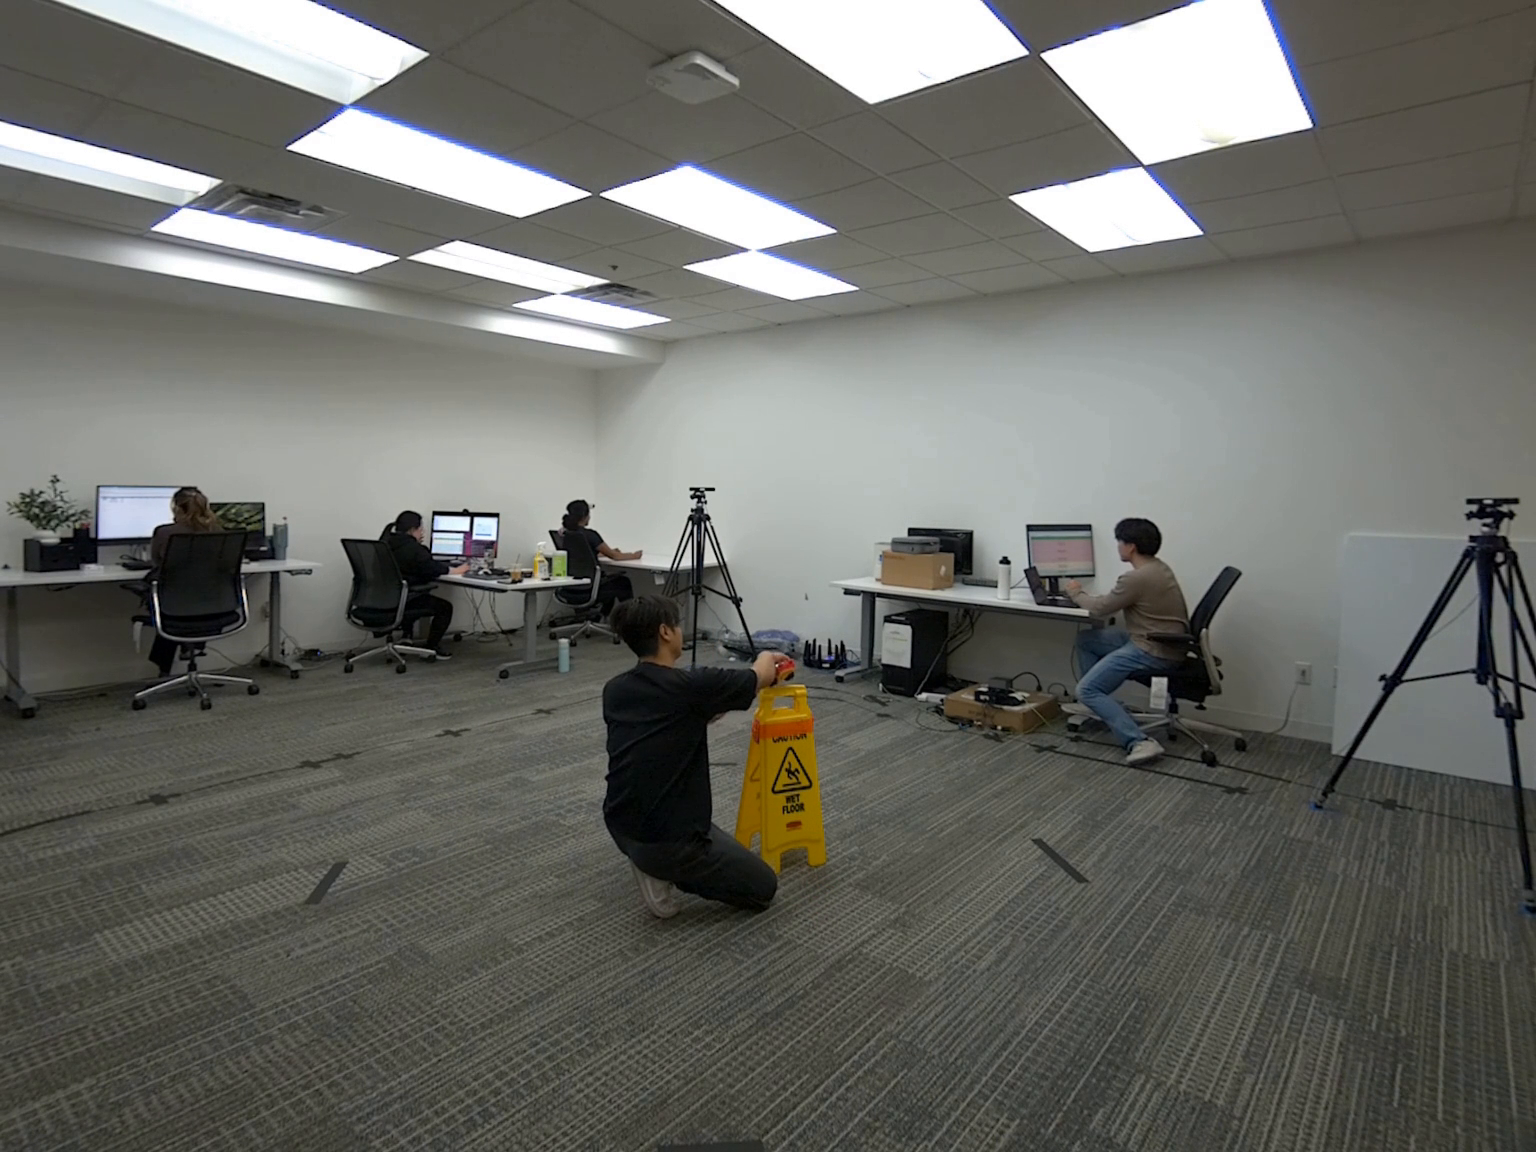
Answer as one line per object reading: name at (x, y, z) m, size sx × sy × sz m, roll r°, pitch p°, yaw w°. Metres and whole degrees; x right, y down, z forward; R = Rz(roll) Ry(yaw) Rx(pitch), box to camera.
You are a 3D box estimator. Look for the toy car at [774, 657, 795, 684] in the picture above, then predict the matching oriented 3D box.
toy car at (0.003, 0.386, 3.206) m, size 0.127 × 0.086 × 0.253 m, roll -11°, pitch -31°, yaw -41°
